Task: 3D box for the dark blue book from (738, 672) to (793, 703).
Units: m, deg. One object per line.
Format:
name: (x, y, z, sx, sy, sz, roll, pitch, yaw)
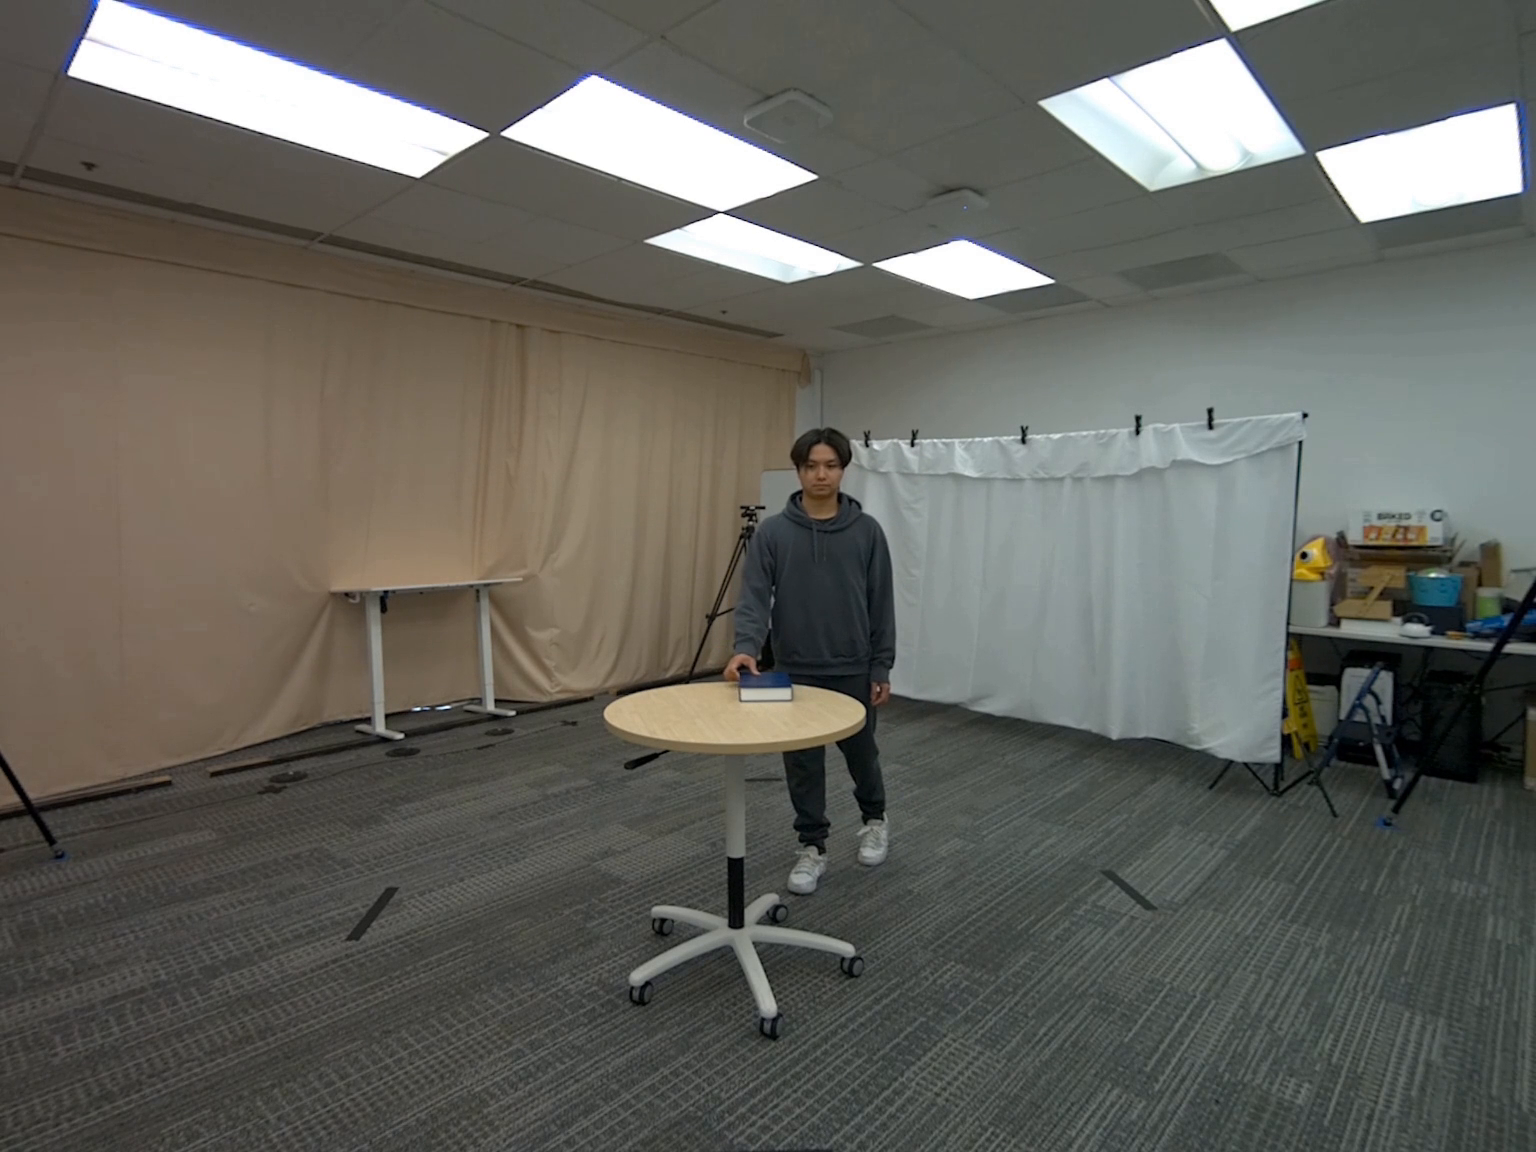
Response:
dark blue book: (-0.018, 0.357, 2.674, 0.163, 0.045, 0.246, -2, 5, -2)
